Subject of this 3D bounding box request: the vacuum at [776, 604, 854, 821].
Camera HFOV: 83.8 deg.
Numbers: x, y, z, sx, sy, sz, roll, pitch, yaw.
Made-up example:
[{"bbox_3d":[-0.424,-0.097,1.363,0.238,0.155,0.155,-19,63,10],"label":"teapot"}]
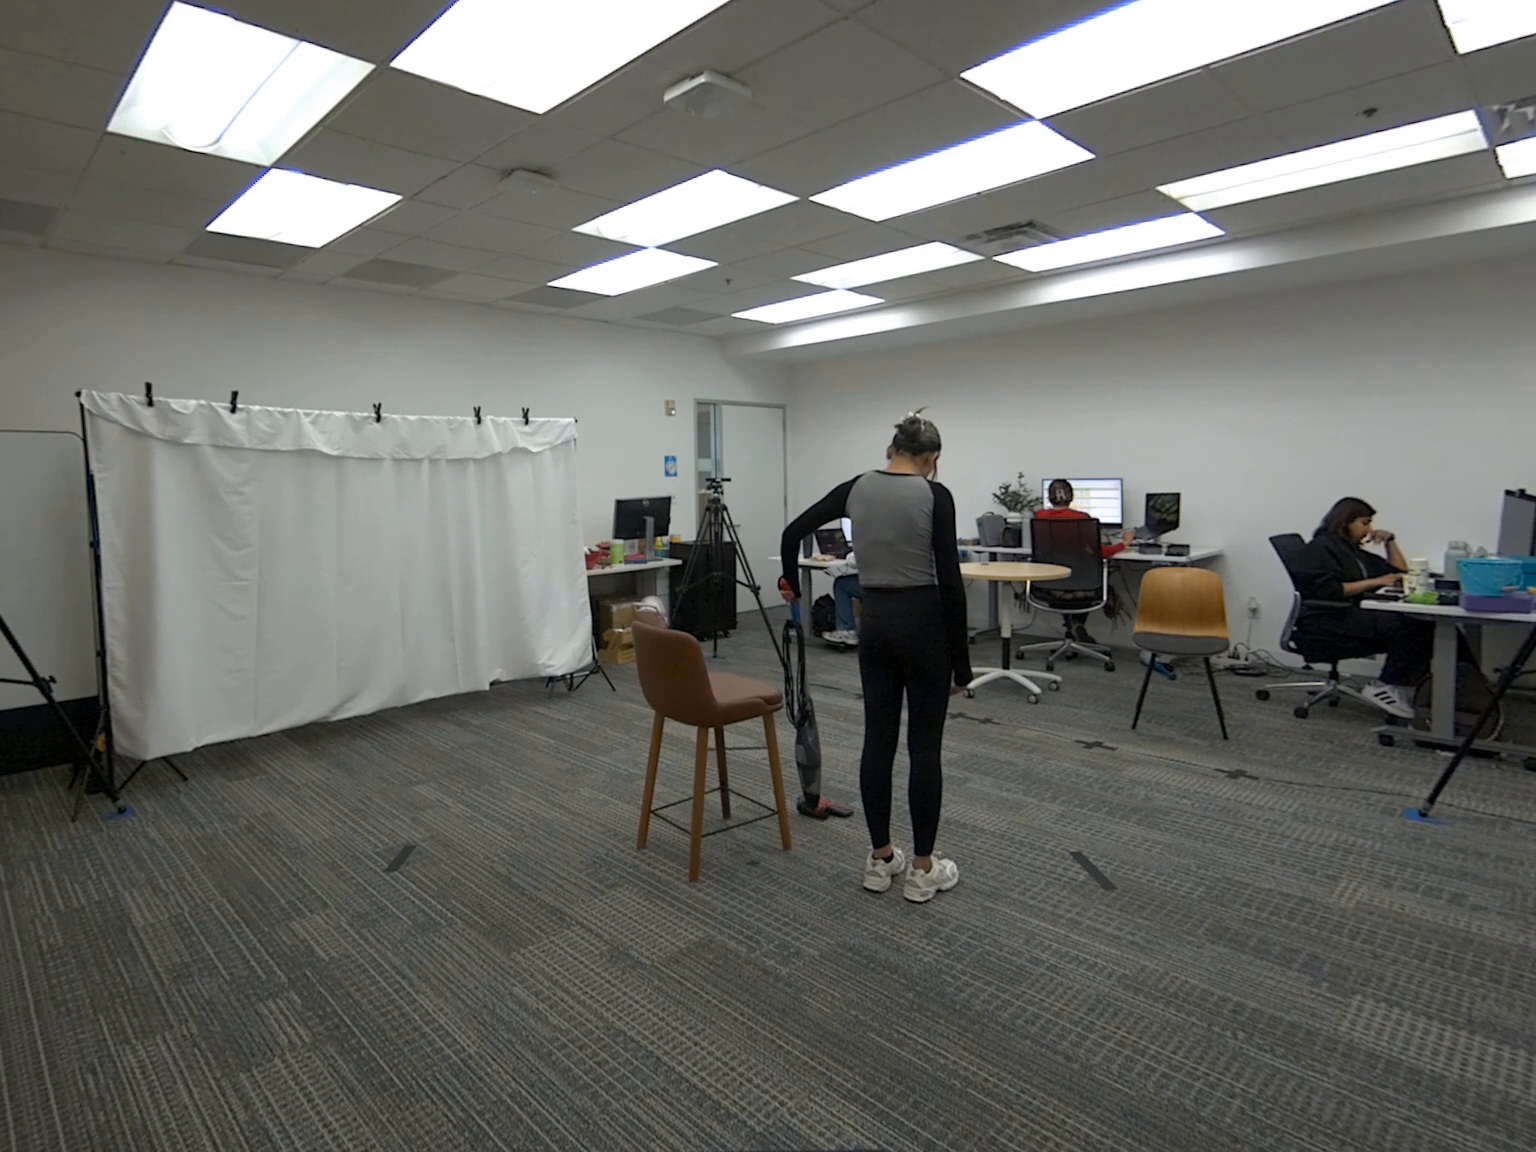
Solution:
[{"bbox_3d":[0.141,0.510,3.410,0.261,1.029,0.142,8,26,42],"label":"vacuum"}]
